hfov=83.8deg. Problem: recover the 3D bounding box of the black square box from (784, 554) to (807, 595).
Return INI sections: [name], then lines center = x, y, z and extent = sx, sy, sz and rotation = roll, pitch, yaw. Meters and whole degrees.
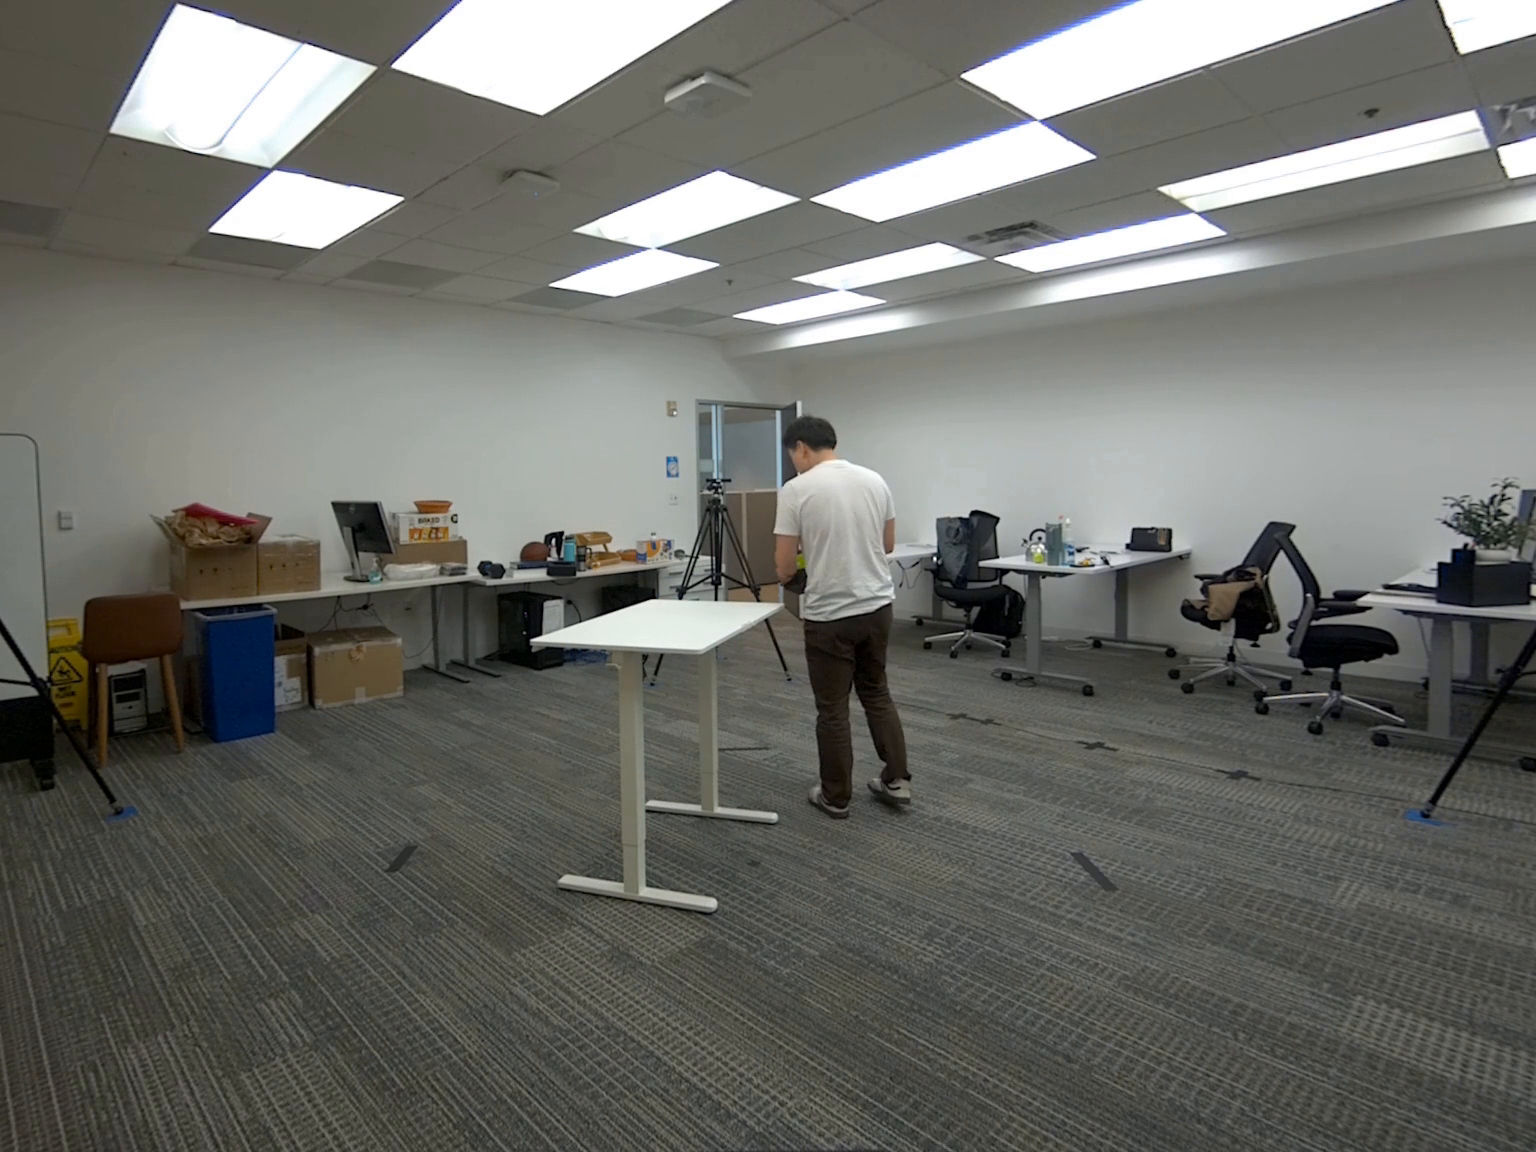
[black square box]
center = 0.206, -0.034, 3.823
extent = 0.231, 0.158, 0.211
rotation = -11, -12, 21
